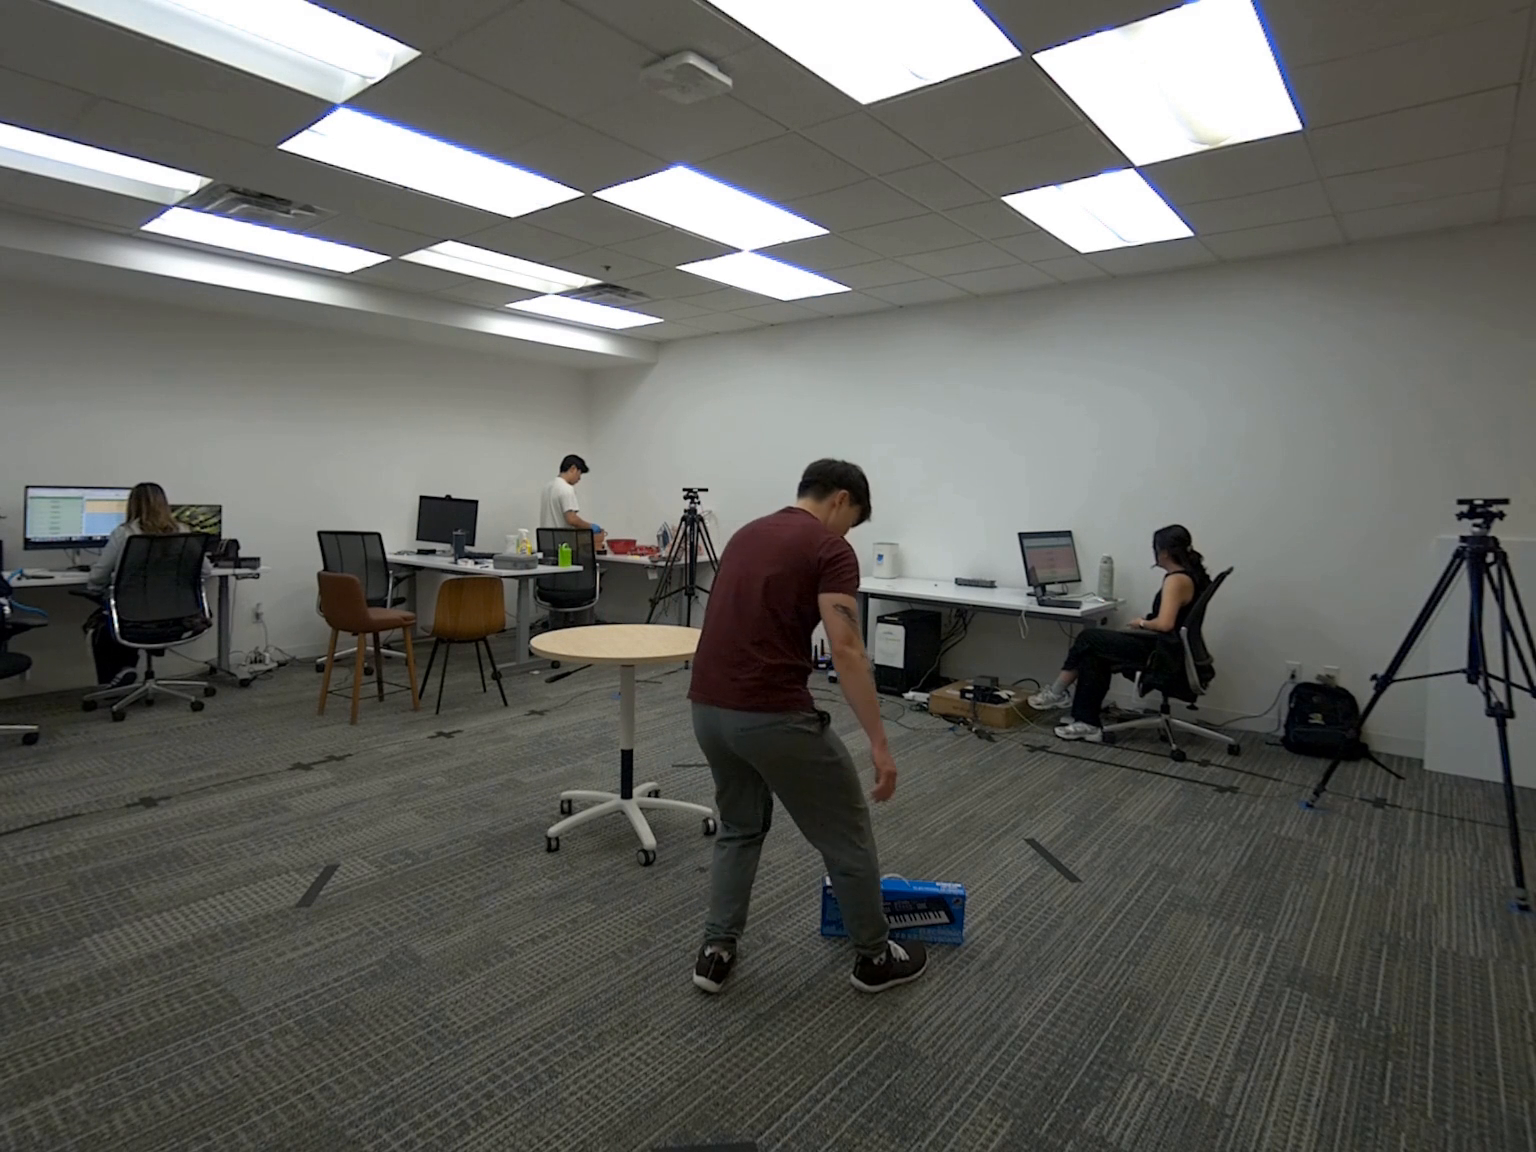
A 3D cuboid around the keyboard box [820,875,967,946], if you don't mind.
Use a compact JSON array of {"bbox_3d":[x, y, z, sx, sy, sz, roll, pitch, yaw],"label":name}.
[{"bbox_3d":[0.383,1.040,2.657,0.438,0.174,0.059,2,11,4],"label":"keyboard box"}]
